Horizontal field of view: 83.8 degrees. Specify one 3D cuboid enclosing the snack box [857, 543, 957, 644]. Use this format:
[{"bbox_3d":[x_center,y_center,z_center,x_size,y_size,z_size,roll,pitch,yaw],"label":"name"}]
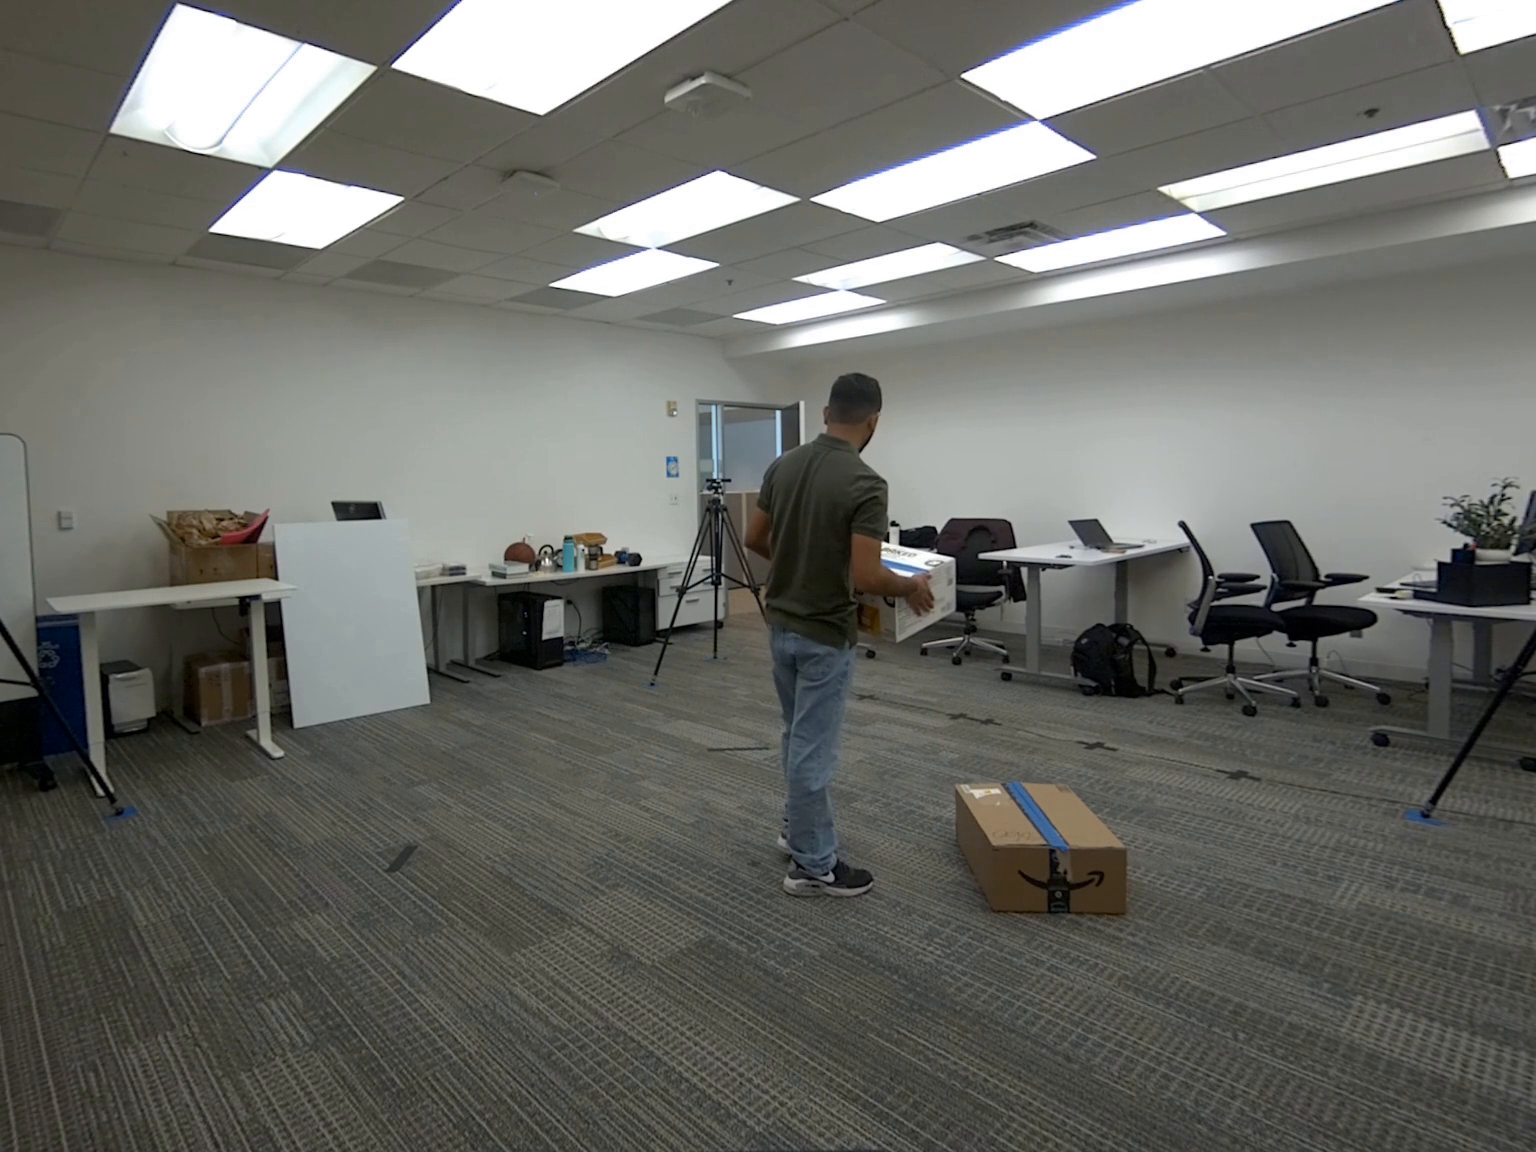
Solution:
[{"bbox_3d":[0.396,0.038,3.035,0.334,0.202,0.419,-21,25,-39],"label":"snack box"}]
